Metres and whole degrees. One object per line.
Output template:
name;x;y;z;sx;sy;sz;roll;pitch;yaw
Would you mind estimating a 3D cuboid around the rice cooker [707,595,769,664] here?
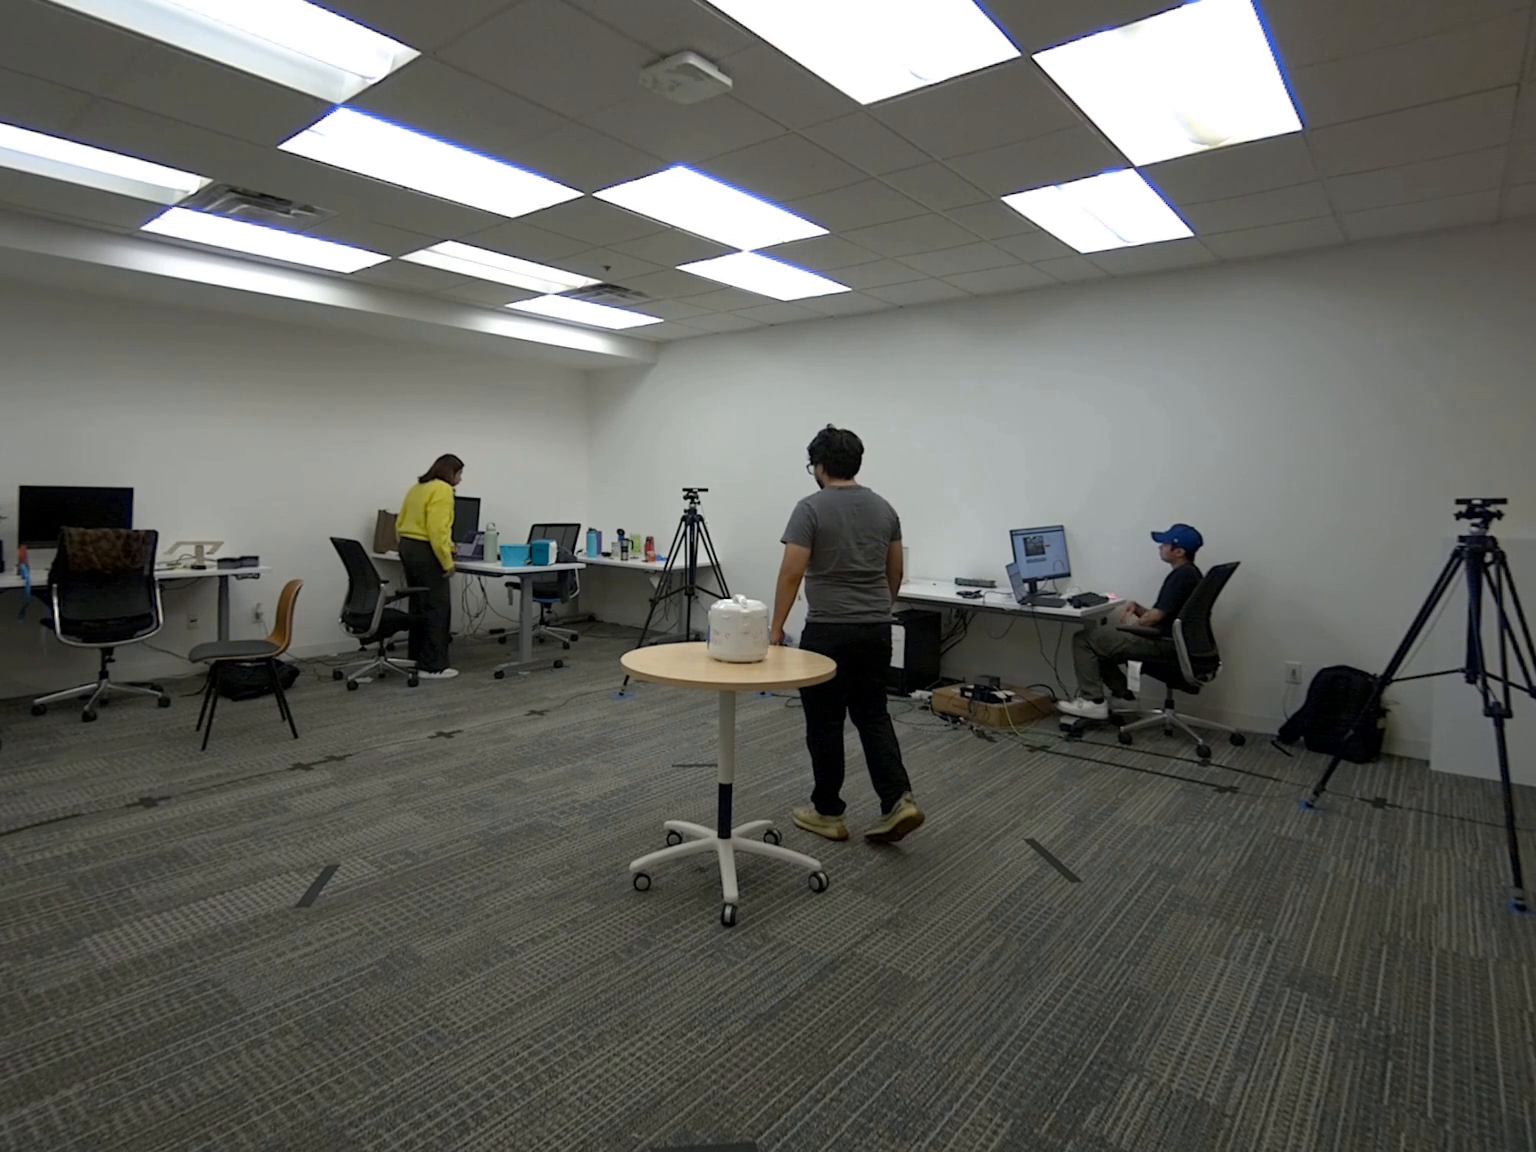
rice cooker;-0.110;0.178;3.057;0.215;0.232;0.224;1;4;-12
